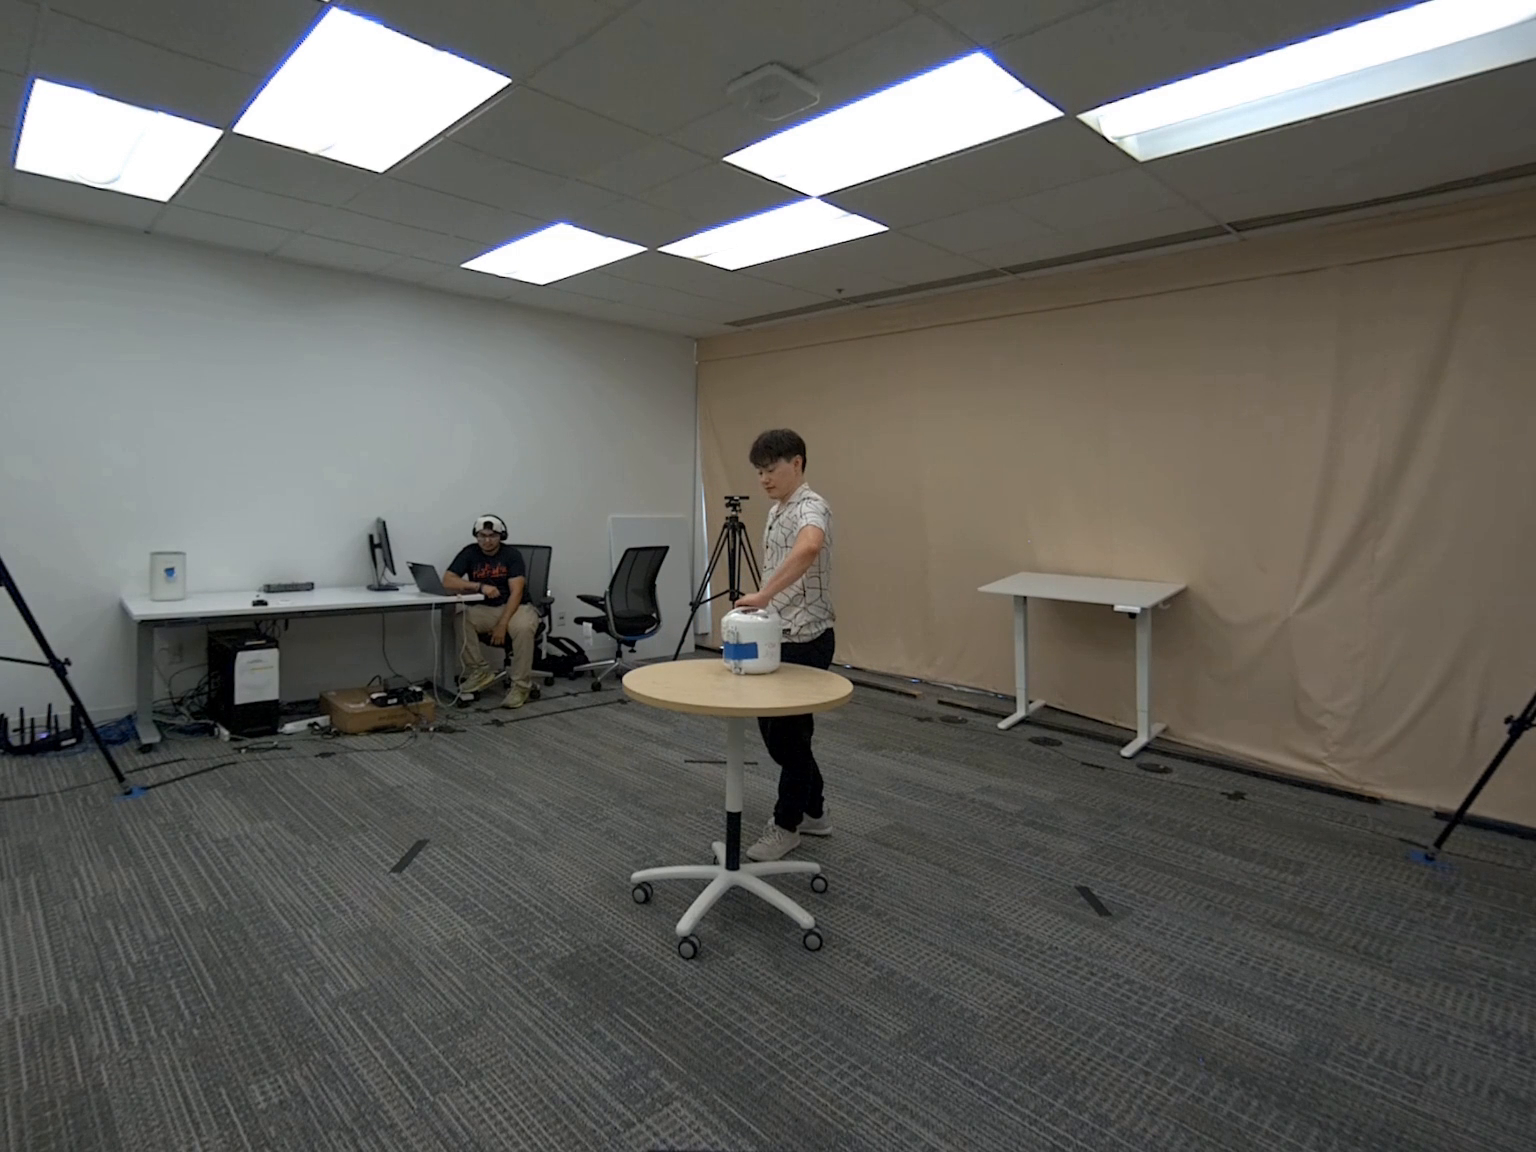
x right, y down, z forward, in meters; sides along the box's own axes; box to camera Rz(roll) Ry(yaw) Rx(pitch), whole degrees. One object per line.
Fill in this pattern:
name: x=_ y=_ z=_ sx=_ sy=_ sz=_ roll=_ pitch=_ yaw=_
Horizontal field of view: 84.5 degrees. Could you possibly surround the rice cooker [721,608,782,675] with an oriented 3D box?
rice cooker: x=-0.065 y=0.221 z=2.988 sx=0.218 sy=0.232 sz=0.220 roll=2 pitch=5 yaw=-14
